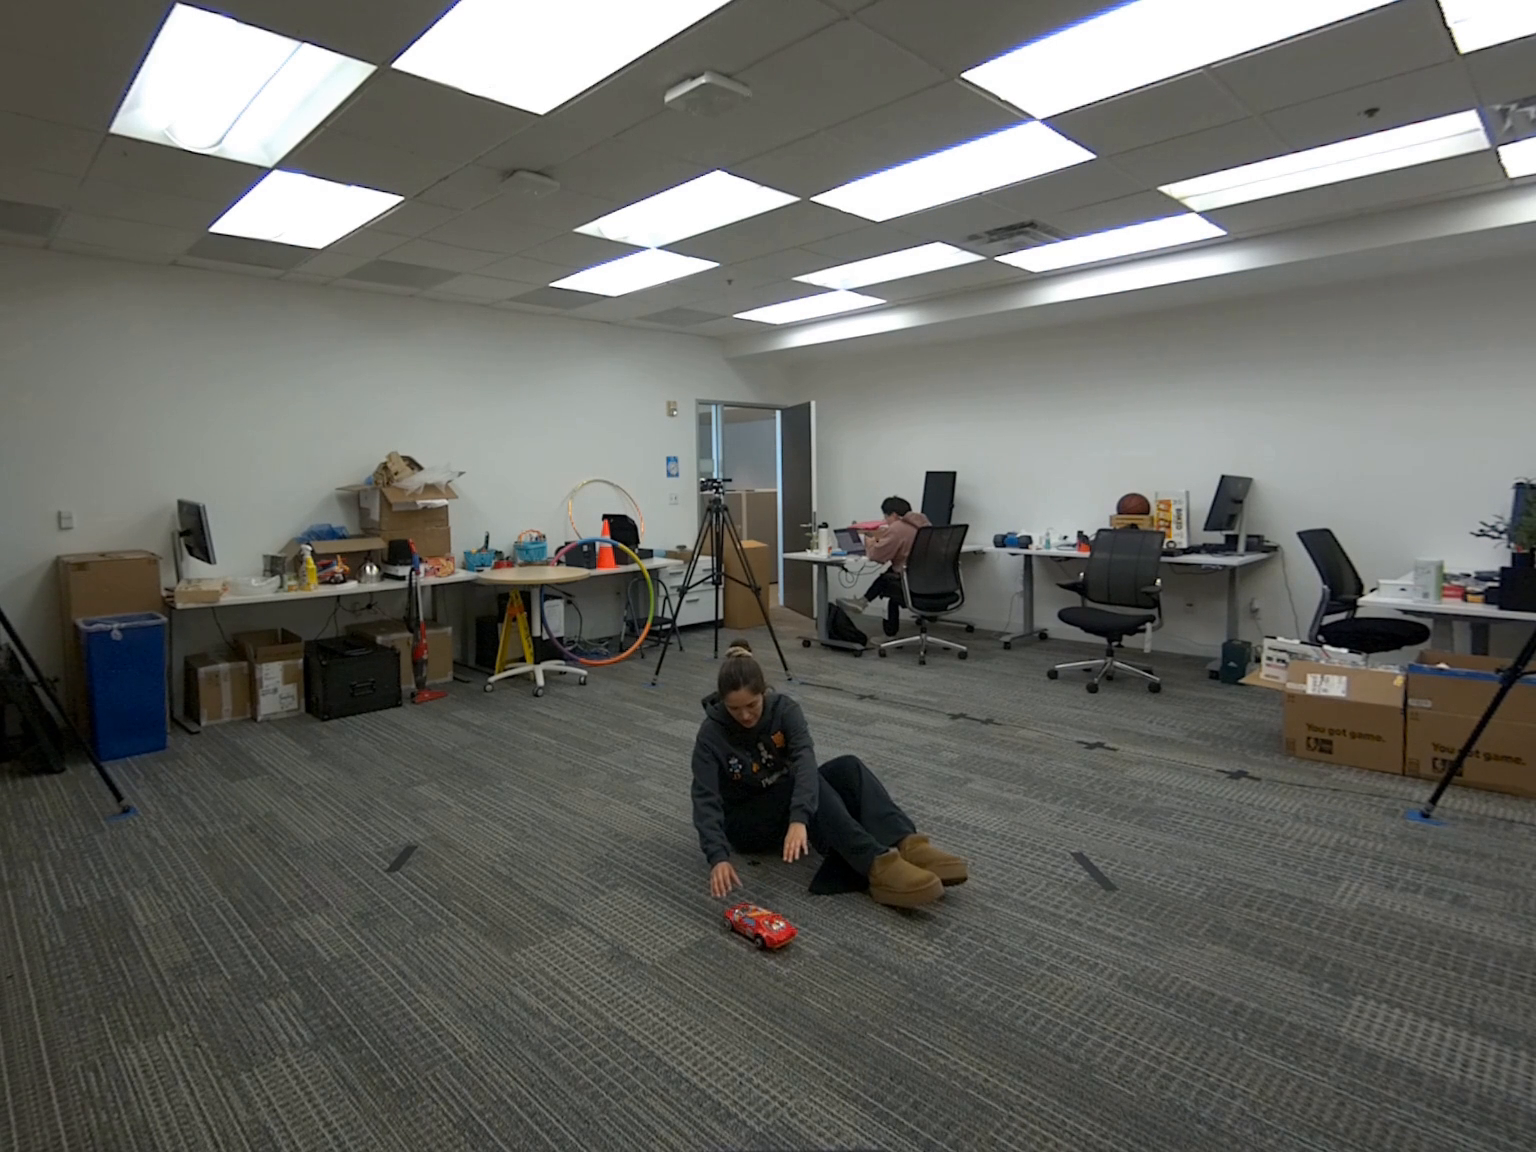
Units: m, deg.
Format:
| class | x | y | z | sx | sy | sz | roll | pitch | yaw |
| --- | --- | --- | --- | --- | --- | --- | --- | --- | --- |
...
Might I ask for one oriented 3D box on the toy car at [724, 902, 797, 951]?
| class | x | y | z | sx | sy | sz | roll | pitch | yaw |
| --- | --- | --- | --- | --- | --- | --- | --- | --- | --- |
| toy car | -0.019 | 1.072 | 2.590 | 0.127 | 0.083 | 0.260 | -6 | -3 | -41 |
